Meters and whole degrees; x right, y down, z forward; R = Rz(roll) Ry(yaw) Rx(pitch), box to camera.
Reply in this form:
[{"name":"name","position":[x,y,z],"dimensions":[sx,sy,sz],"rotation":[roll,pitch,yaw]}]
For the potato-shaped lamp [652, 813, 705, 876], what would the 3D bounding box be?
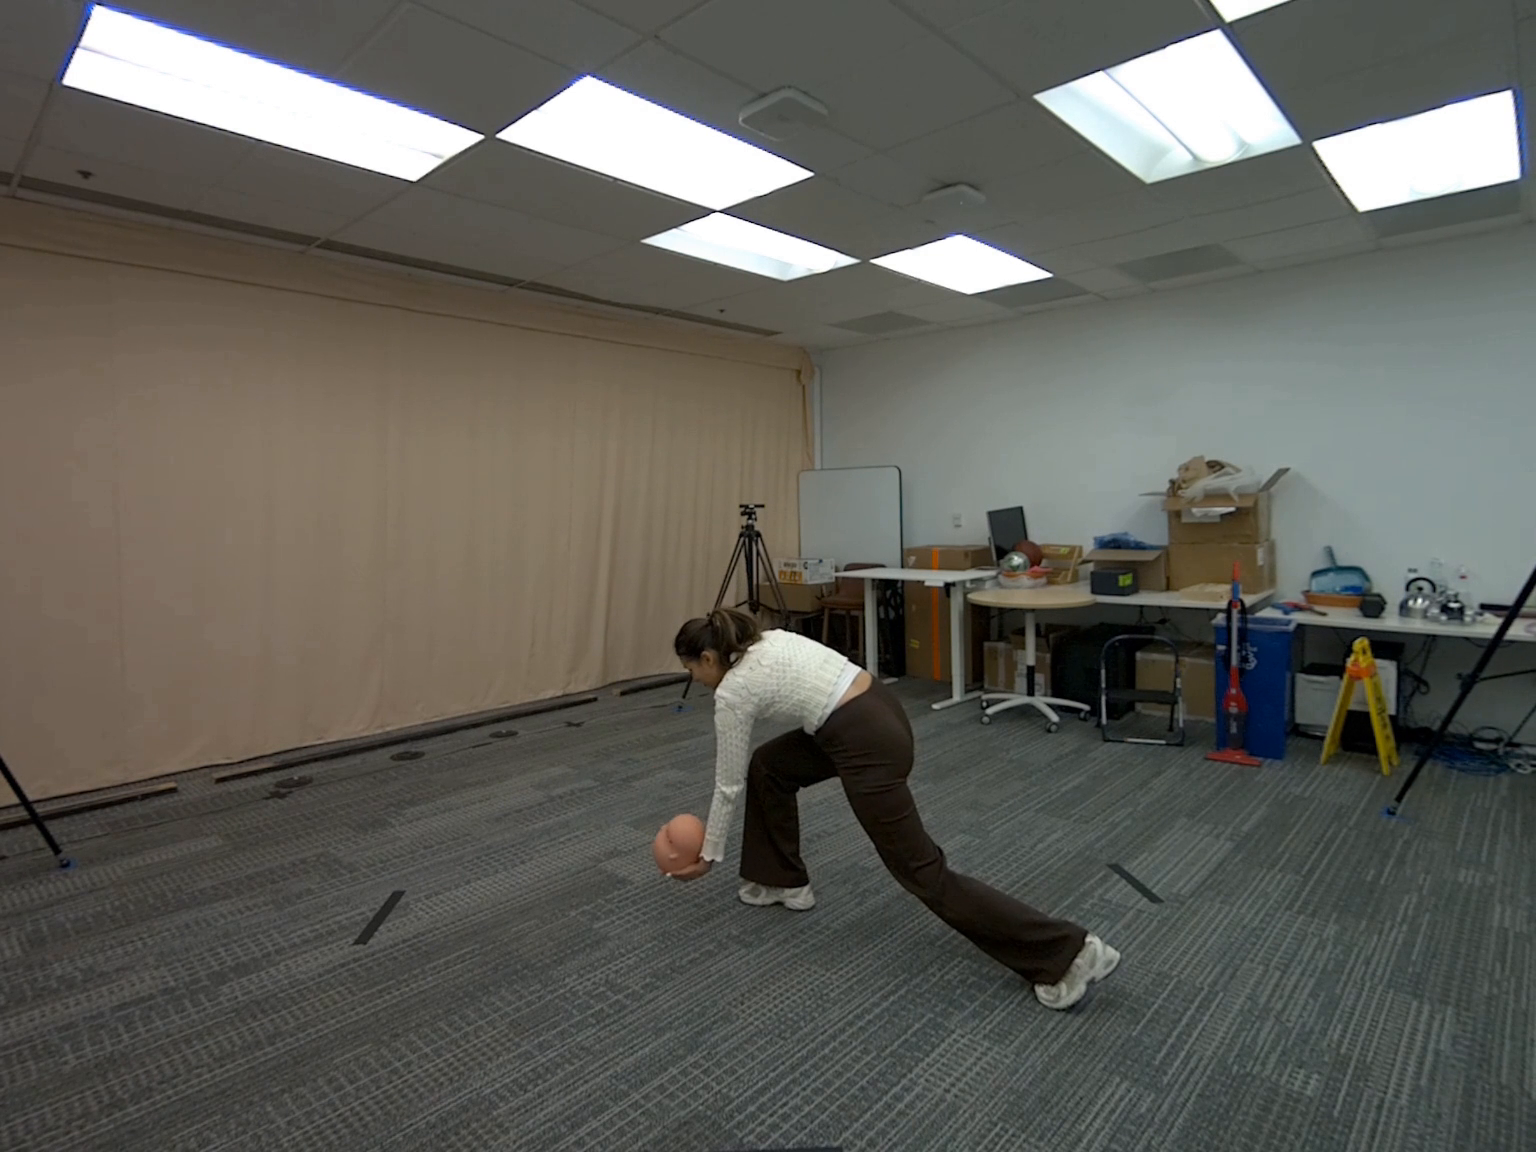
[{"name":"potato-shaped lamp","position":[-0.285,0.884,2.815],"dimensions":[0.167,0.197,0.170],"rotation":[3,35,-28]}]
